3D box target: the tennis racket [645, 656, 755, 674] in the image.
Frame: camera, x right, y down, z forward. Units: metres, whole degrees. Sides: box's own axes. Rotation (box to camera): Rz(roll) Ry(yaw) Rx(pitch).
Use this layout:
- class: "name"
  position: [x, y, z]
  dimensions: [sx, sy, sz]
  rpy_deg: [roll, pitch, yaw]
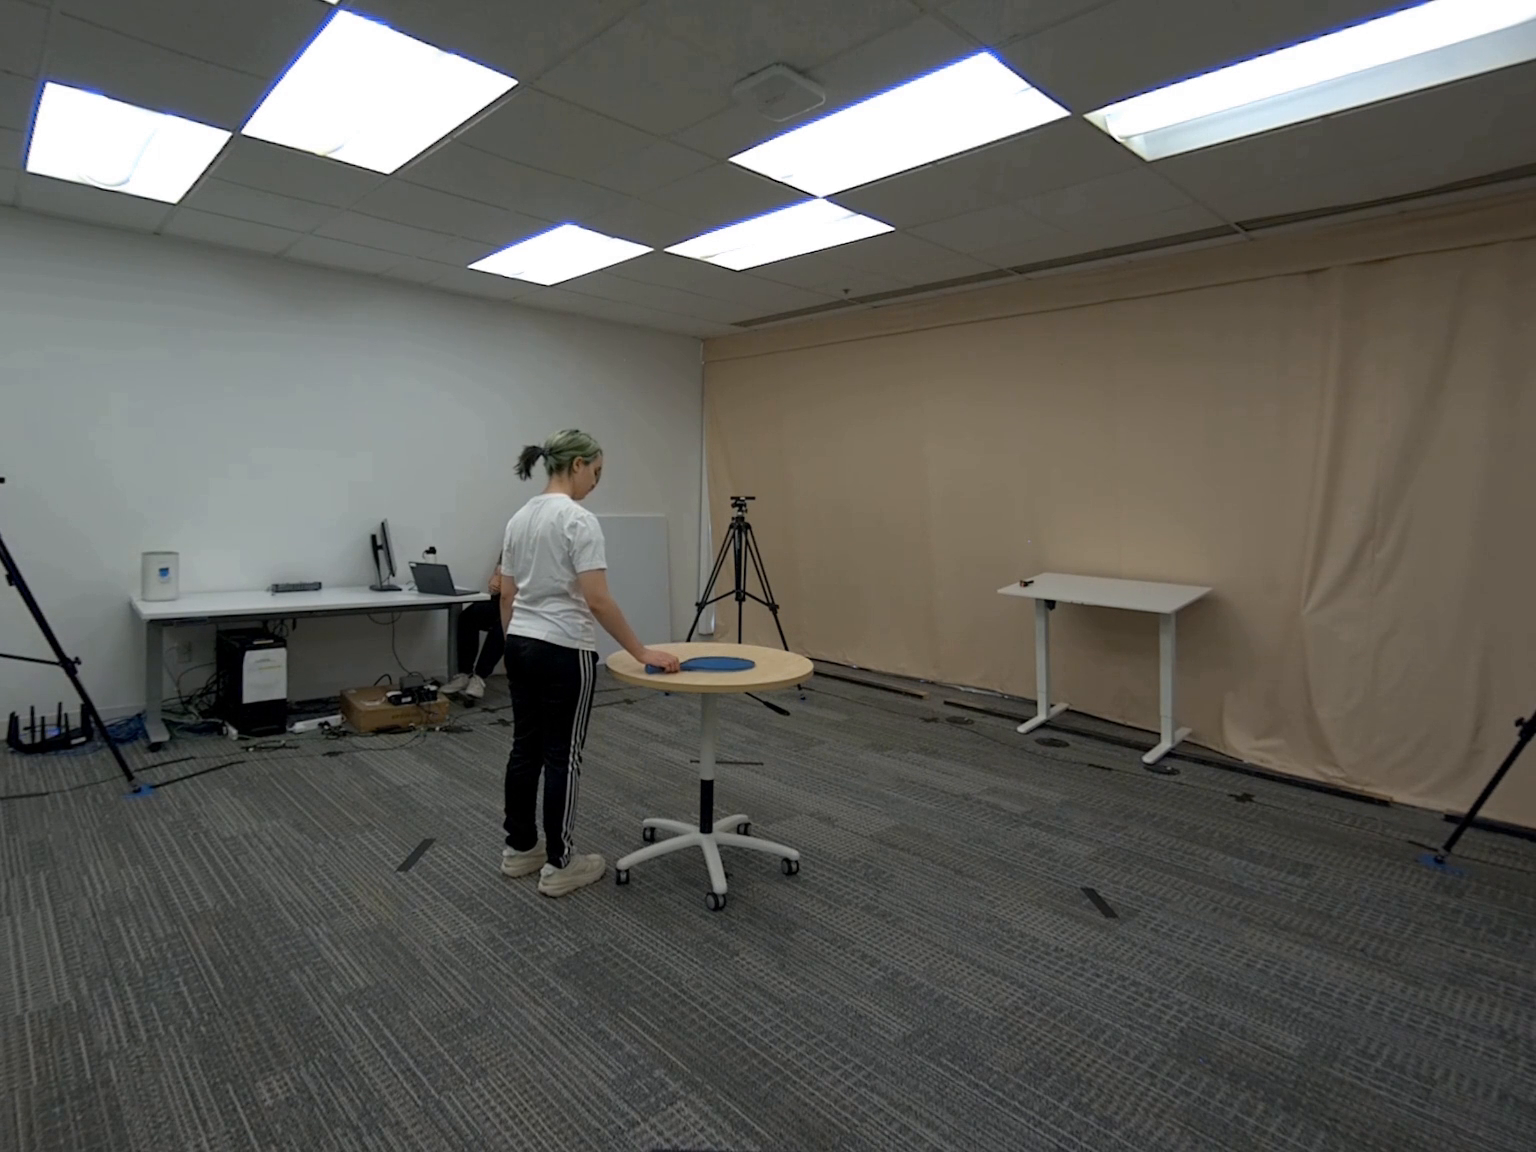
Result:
- class: "tennis racket"
  position: [-0.251, 0.317, 2.993]
  dimensions: [0.424, 0.032, 0.219]
  rpy_deg: [0, 5, -29]
